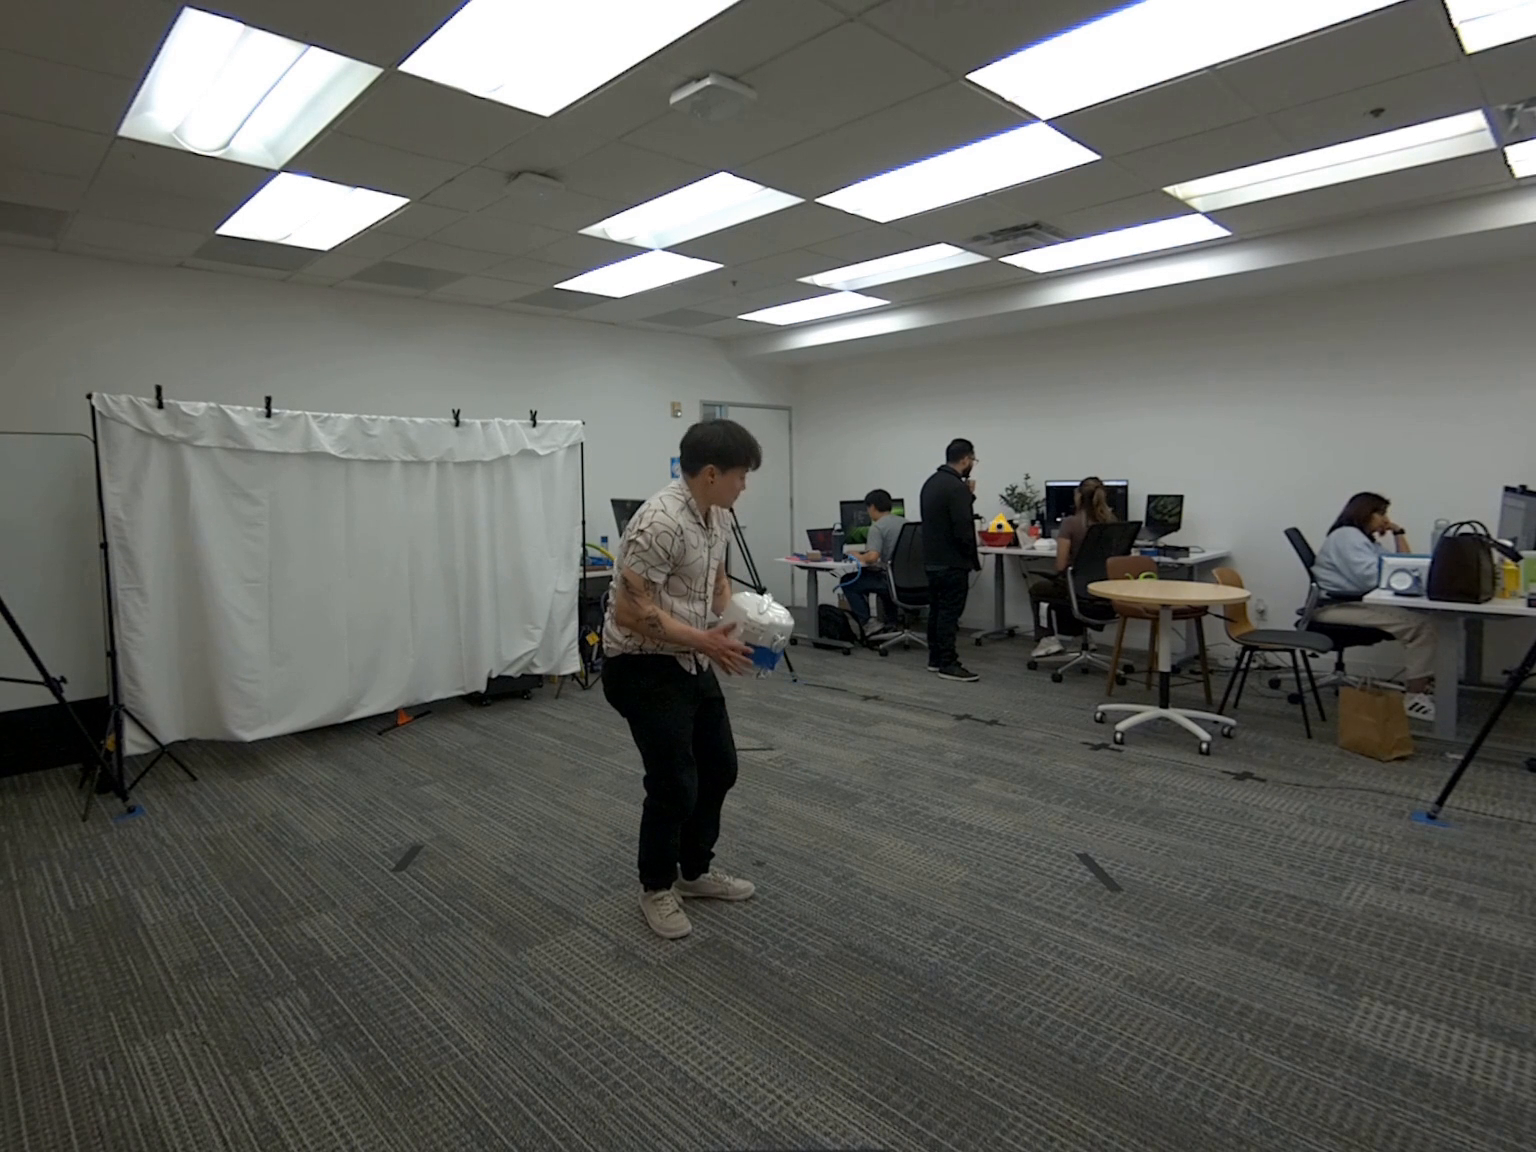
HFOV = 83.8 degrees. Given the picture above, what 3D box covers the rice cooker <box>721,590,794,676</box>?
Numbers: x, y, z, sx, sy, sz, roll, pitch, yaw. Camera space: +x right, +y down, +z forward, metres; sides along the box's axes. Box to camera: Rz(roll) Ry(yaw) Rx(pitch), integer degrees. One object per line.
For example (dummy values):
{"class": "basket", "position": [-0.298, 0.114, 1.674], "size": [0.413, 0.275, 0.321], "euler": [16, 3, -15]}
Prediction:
{"class": "rice cooker", "position": [-0.042, 0.162, 2.580], "size": [0.219, 0.231, 0.220], "euler": [24, 11, 5]}
